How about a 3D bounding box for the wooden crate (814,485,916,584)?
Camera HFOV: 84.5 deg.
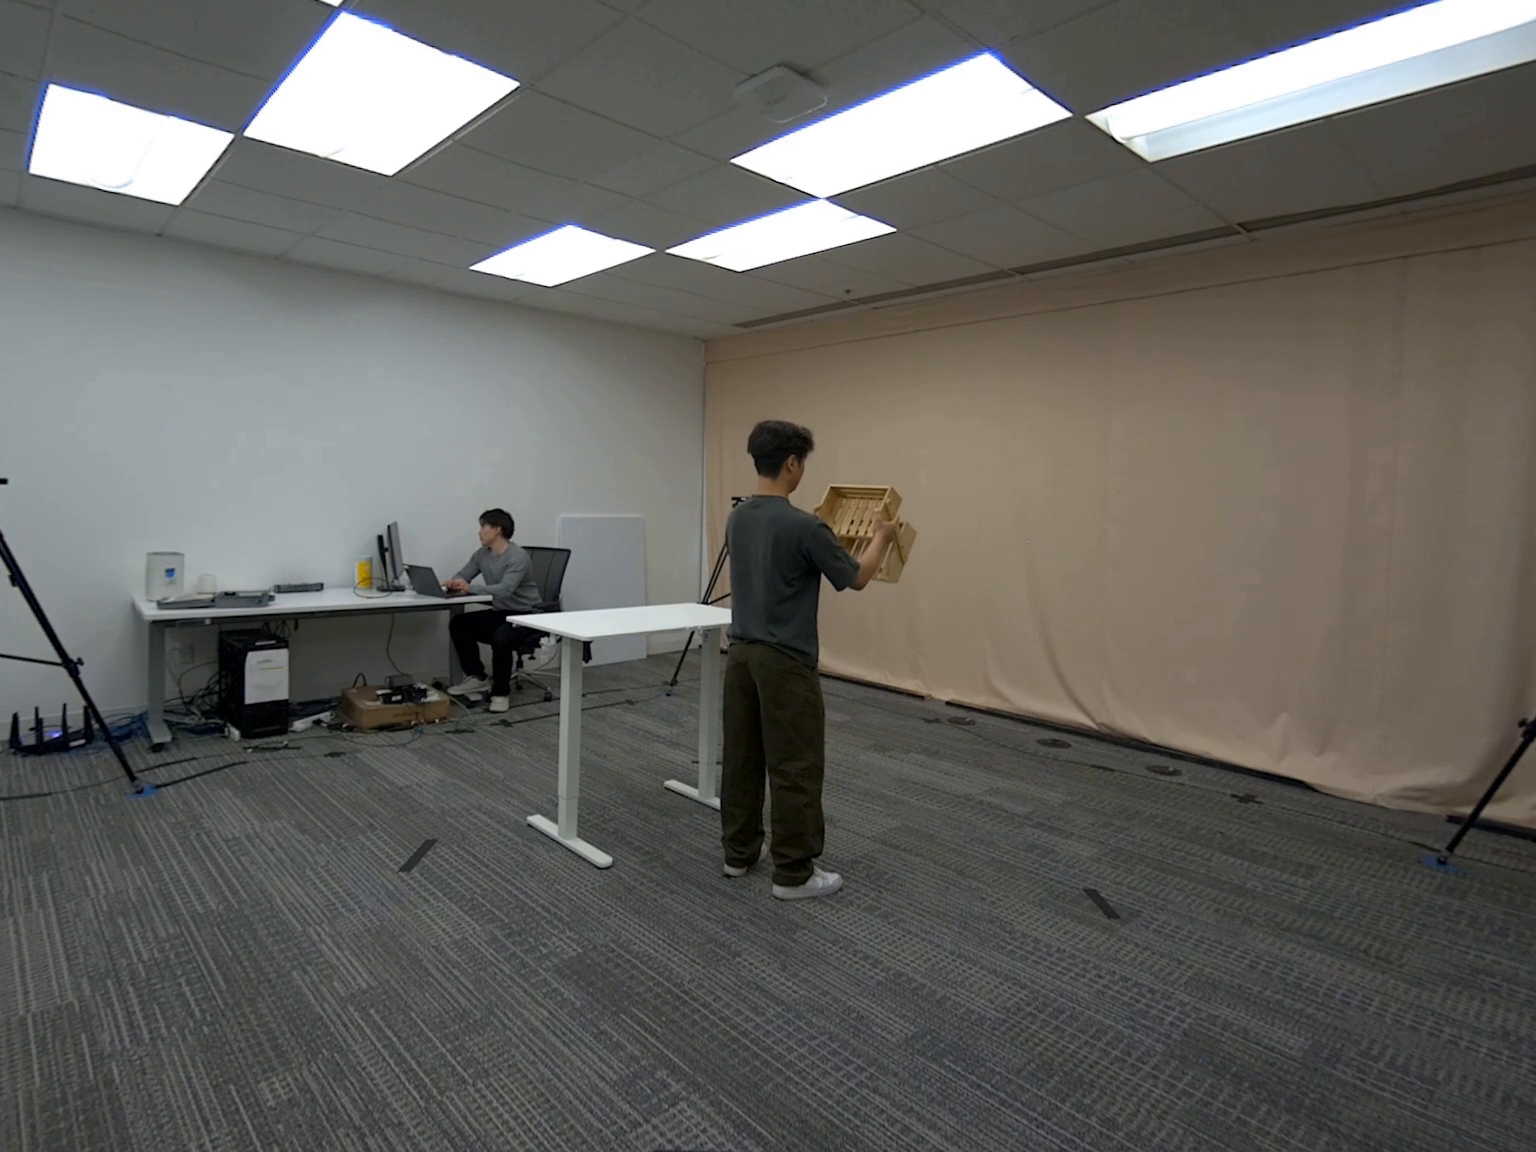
[{"bbox_3d":[0.360,-0.161,3.319,0.333,0.304,0.265,7,-26,44],"label":"wooden crate"}]
